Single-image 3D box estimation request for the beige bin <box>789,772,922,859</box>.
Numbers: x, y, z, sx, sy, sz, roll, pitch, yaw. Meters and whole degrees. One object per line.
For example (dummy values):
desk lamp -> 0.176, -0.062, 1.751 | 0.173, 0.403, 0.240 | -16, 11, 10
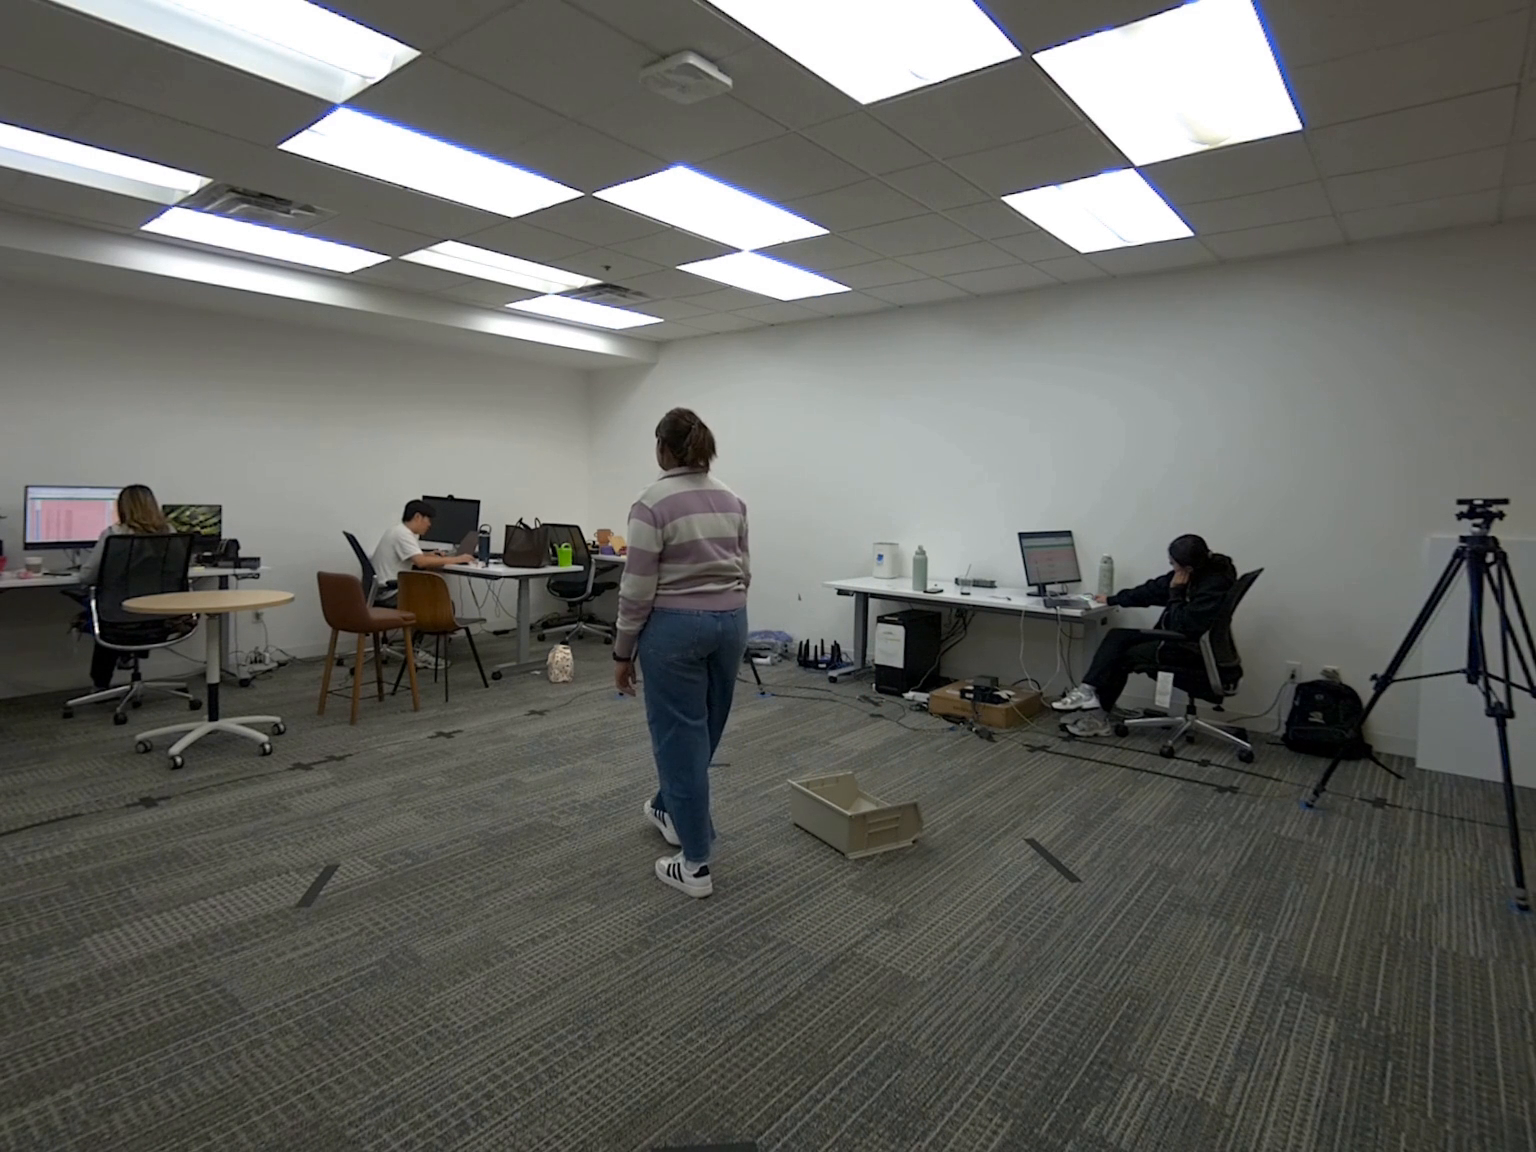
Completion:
beige bin -> 0.343, 0.955, 3.475 | 0.367, 0.188, 0.436 | -3, 7, -31
